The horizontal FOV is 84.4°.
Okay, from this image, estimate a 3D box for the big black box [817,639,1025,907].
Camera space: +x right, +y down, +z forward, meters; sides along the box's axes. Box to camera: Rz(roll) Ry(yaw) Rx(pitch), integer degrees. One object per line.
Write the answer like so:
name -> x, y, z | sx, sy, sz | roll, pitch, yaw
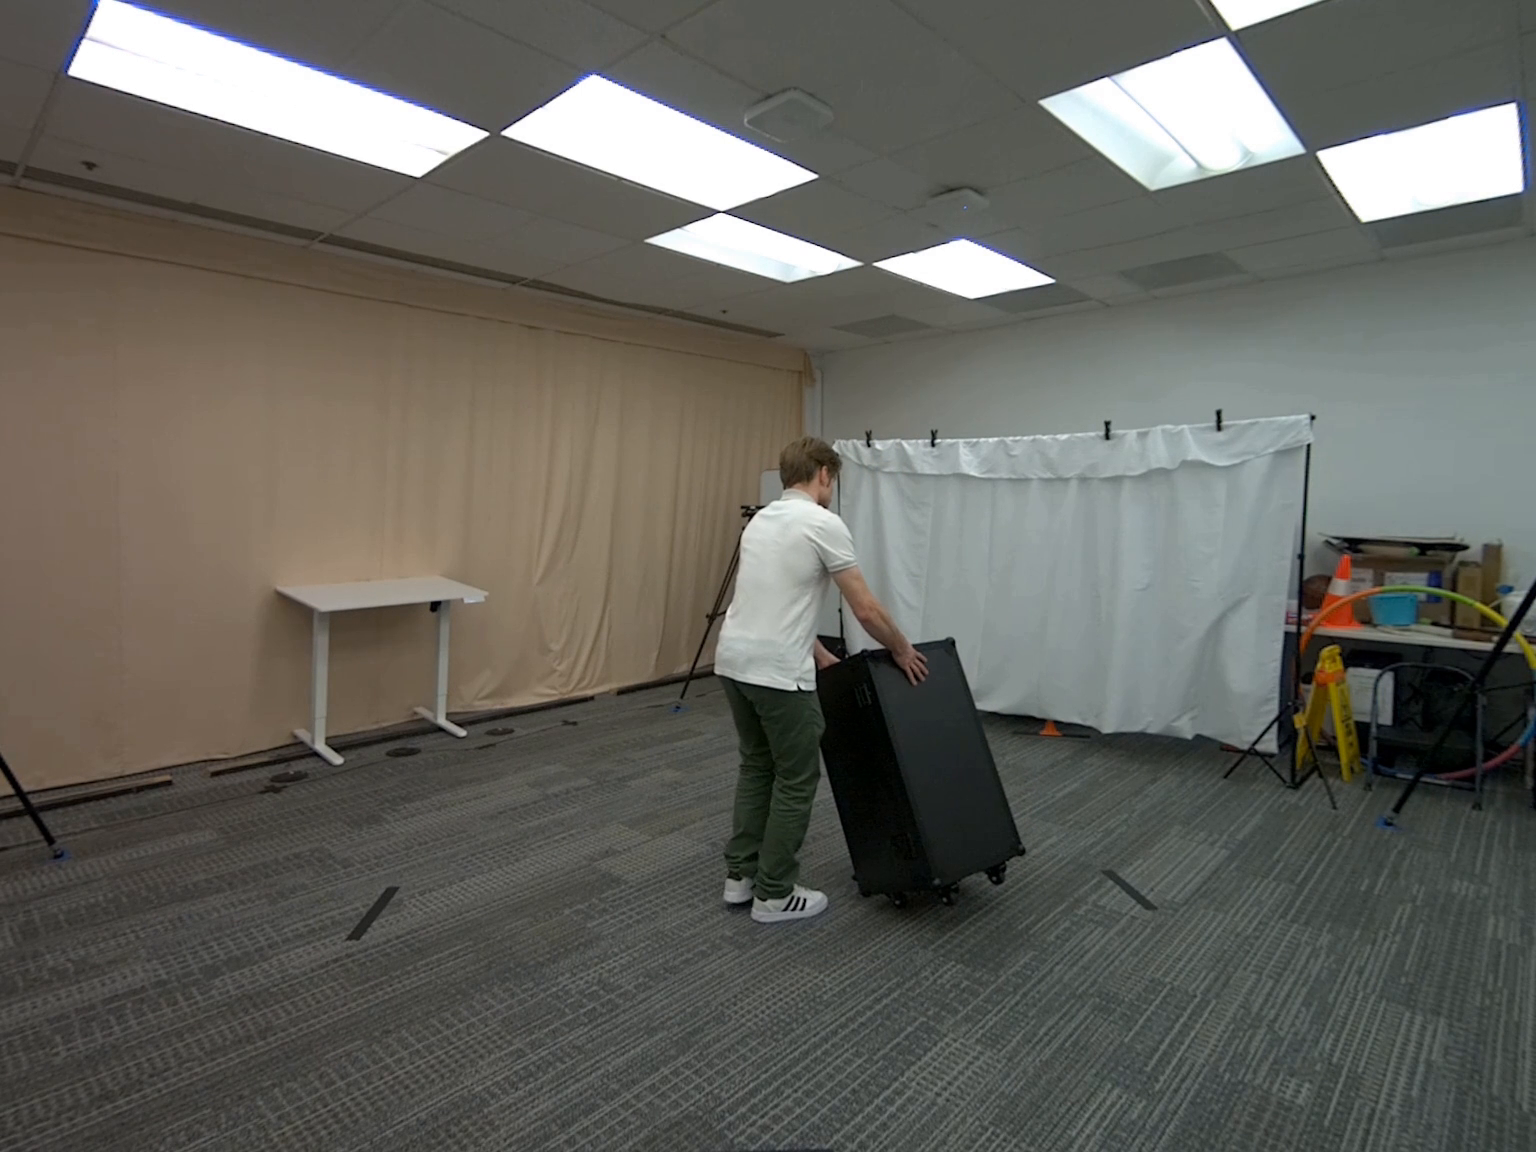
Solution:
big black box -> 0.517, 0.706, 3.017 | 0.507, 0.880, 0.392 | -2, -20, -39
